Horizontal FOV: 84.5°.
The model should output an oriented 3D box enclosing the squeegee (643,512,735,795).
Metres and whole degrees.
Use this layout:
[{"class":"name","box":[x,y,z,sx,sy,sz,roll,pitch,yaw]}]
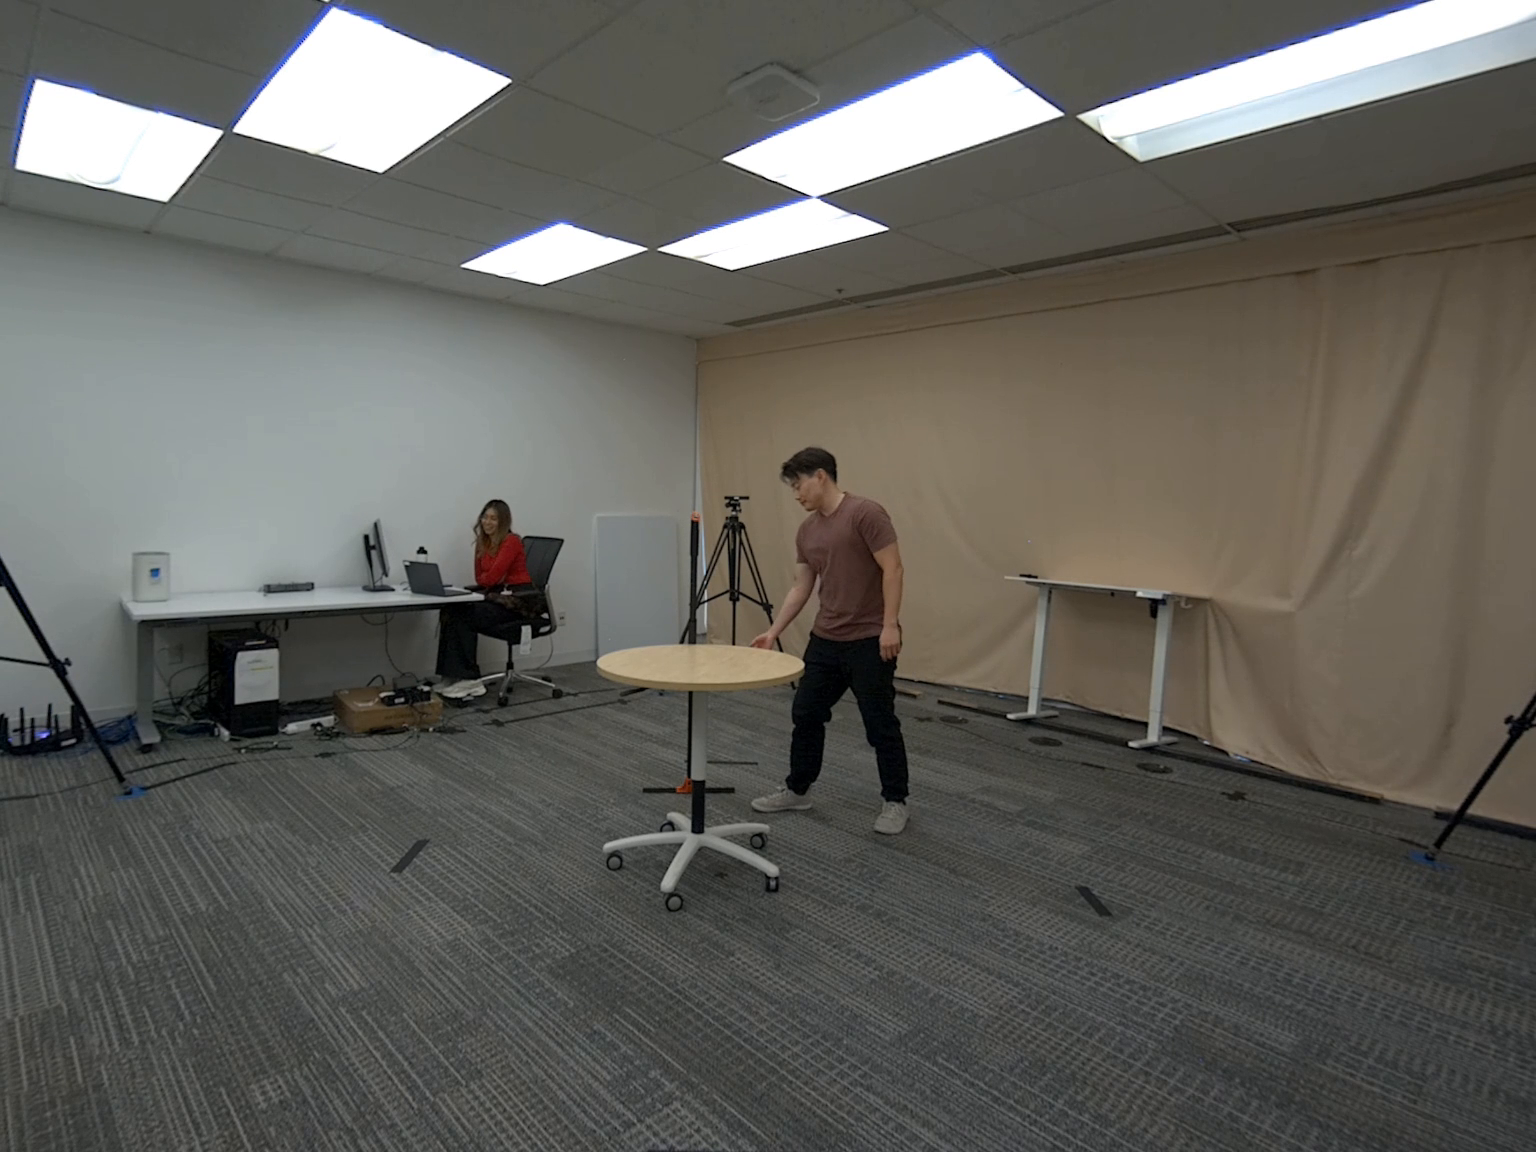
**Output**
[{"class":"squeegee","box":[-0.341,0.391,3.587,0.437,1.508,0.054,2,33,-1]}]
